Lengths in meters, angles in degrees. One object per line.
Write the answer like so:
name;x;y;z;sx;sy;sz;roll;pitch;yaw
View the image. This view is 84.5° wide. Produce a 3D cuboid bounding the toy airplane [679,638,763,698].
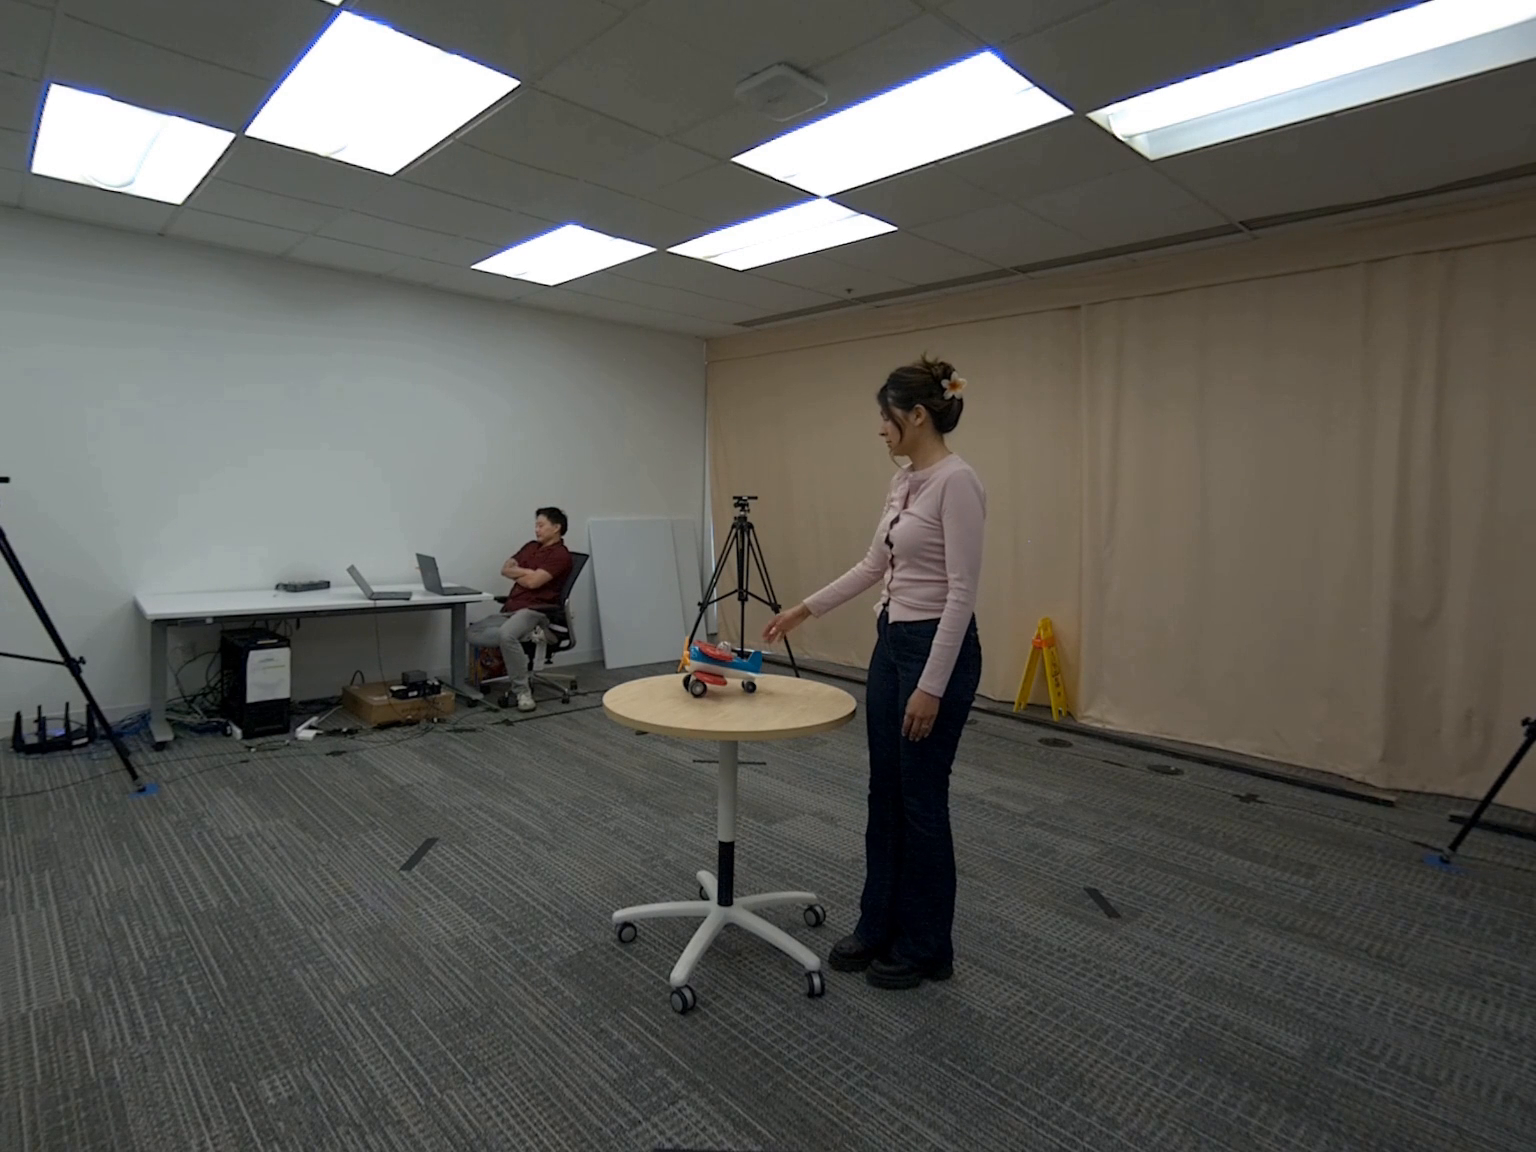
toy airplane;-0.153;0.286;2.632;0.253;0.156;0.257;-3;6;-42
